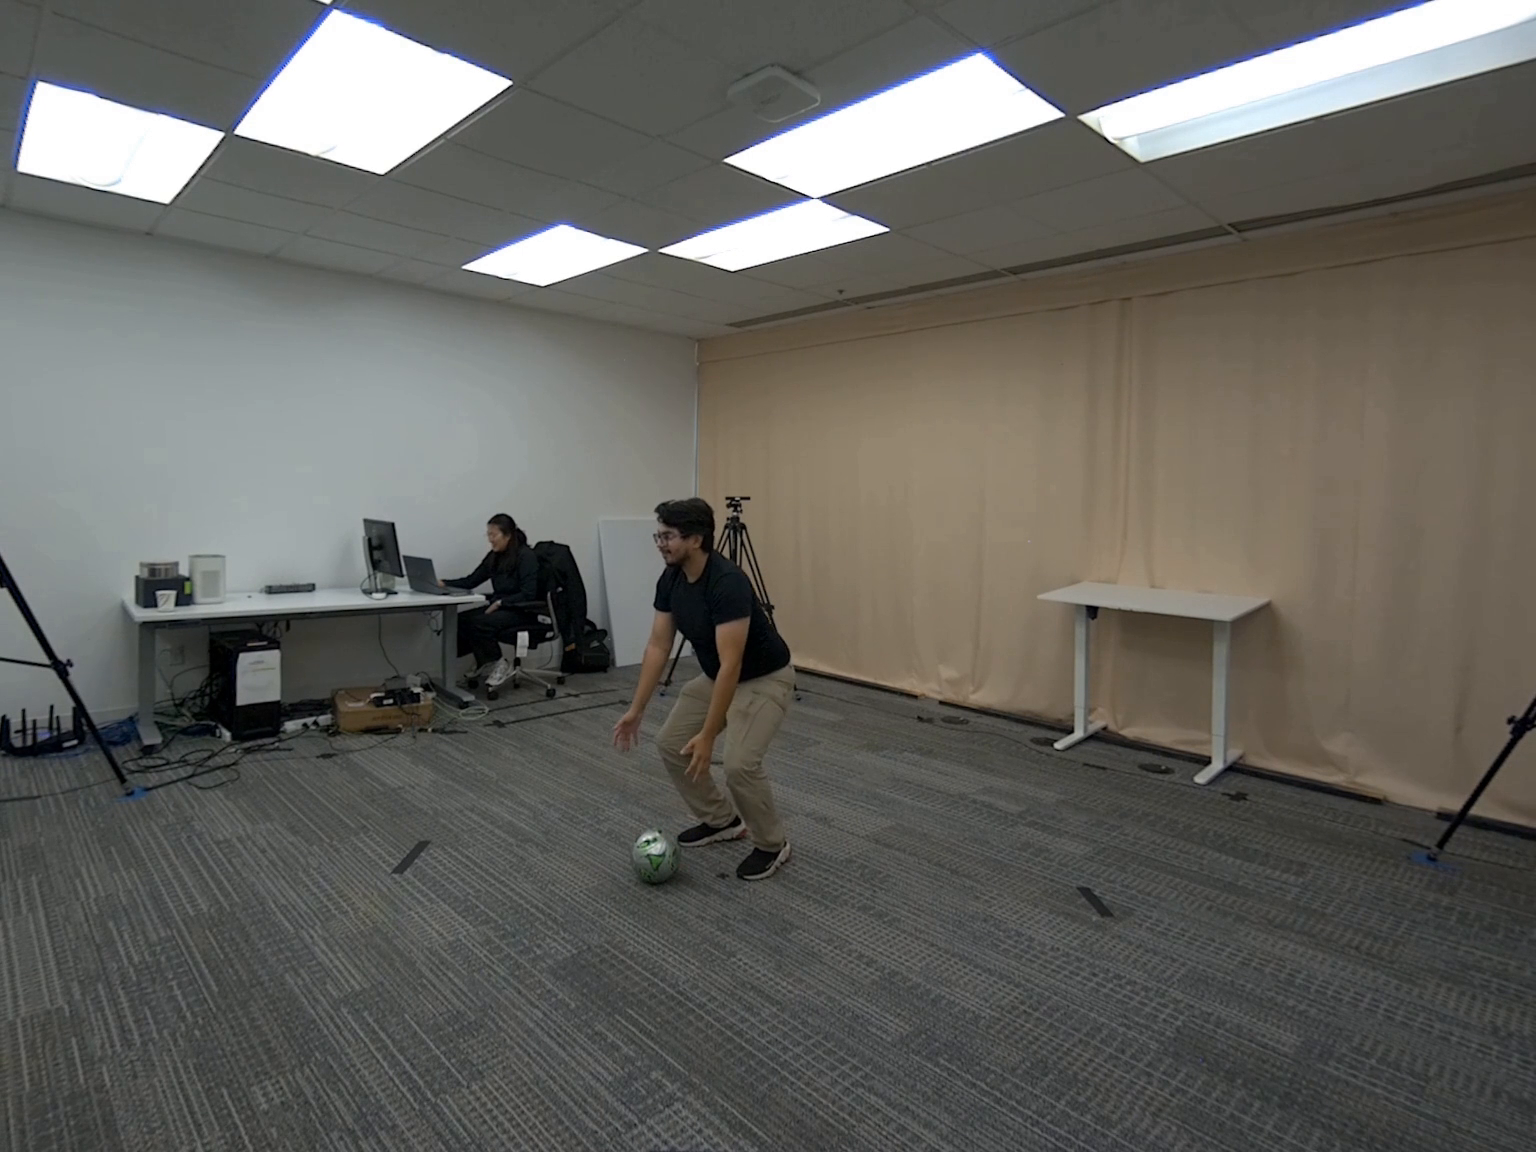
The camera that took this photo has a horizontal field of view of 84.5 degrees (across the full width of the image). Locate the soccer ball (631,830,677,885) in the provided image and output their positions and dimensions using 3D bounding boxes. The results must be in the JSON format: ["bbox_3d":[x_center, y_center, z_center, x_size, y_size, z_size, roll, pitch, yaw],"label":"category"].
[{"bbox_3d":[-0.410,1.013,3.049,0.187,0.187,0.188,1,4,-1],"label":"soccer ball"}]
